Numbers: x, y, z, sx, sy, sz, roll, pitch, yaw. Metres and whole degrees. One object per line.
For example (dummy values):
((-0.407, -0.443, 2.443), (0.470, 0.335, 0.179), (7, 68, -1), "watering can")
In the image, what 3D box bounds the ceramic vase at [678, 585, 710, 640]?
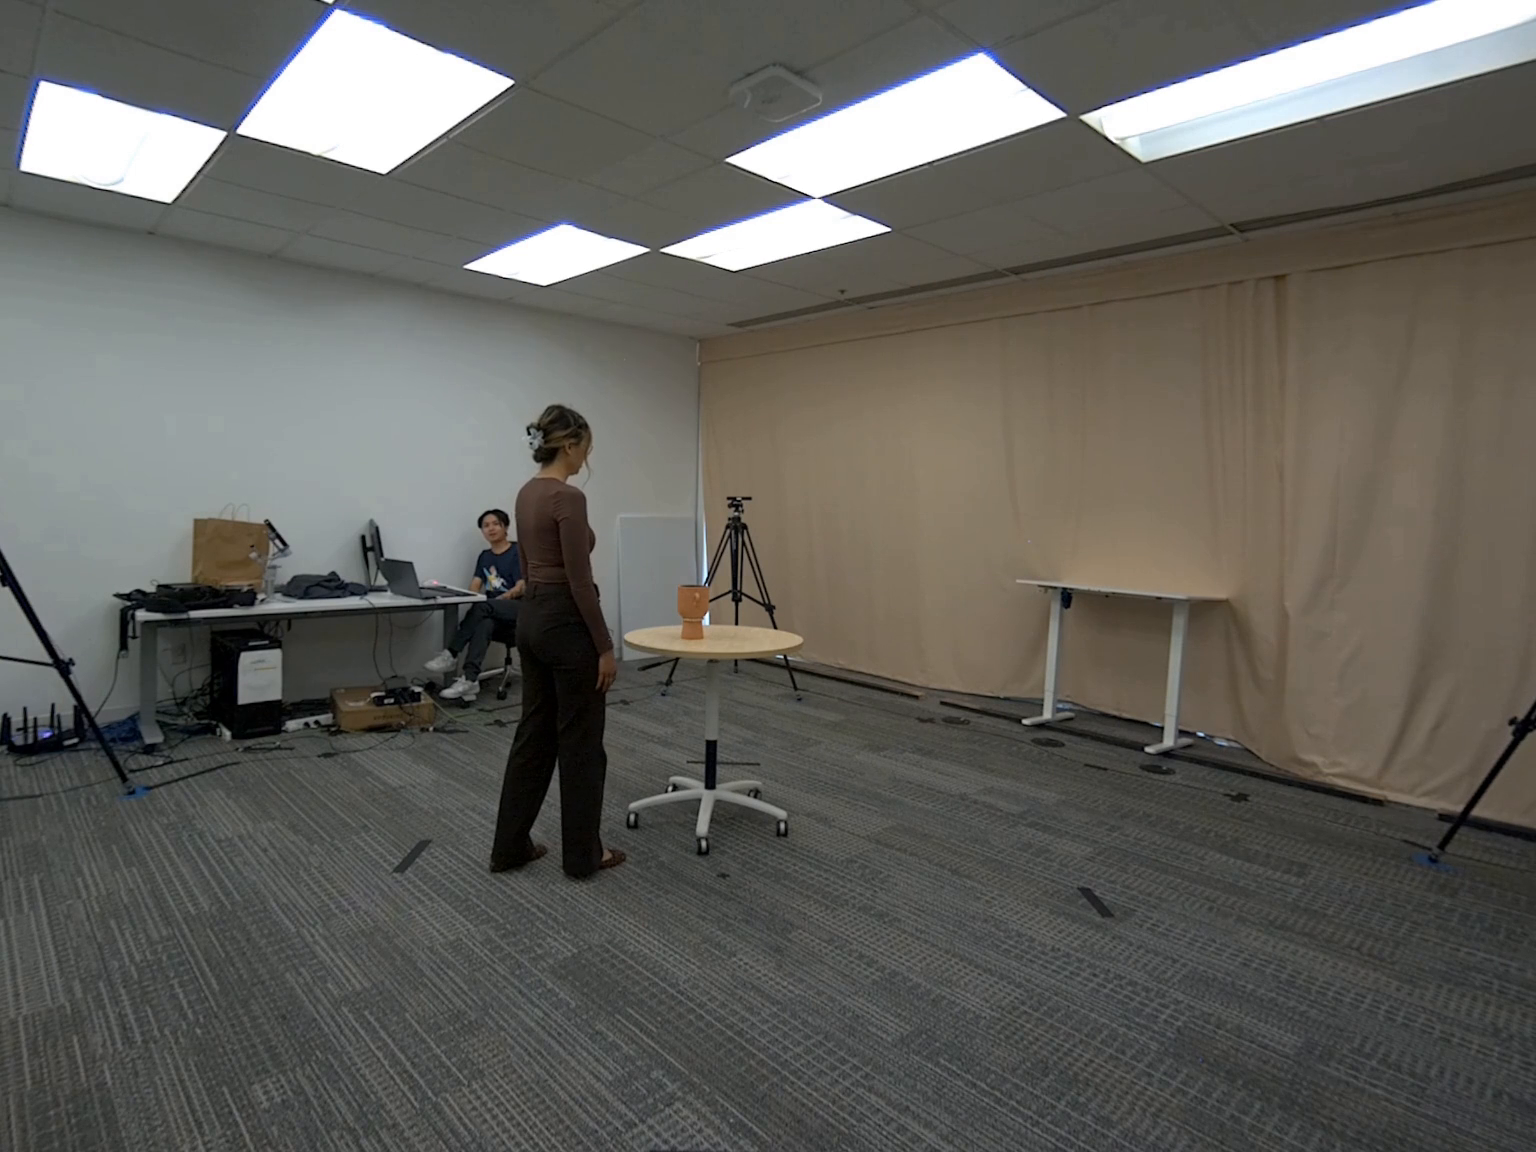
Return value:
((-0.328, 0.154, 3.575), (0.137, 0.219, 0.156), (2, 3, 23), "ceramic vase")
